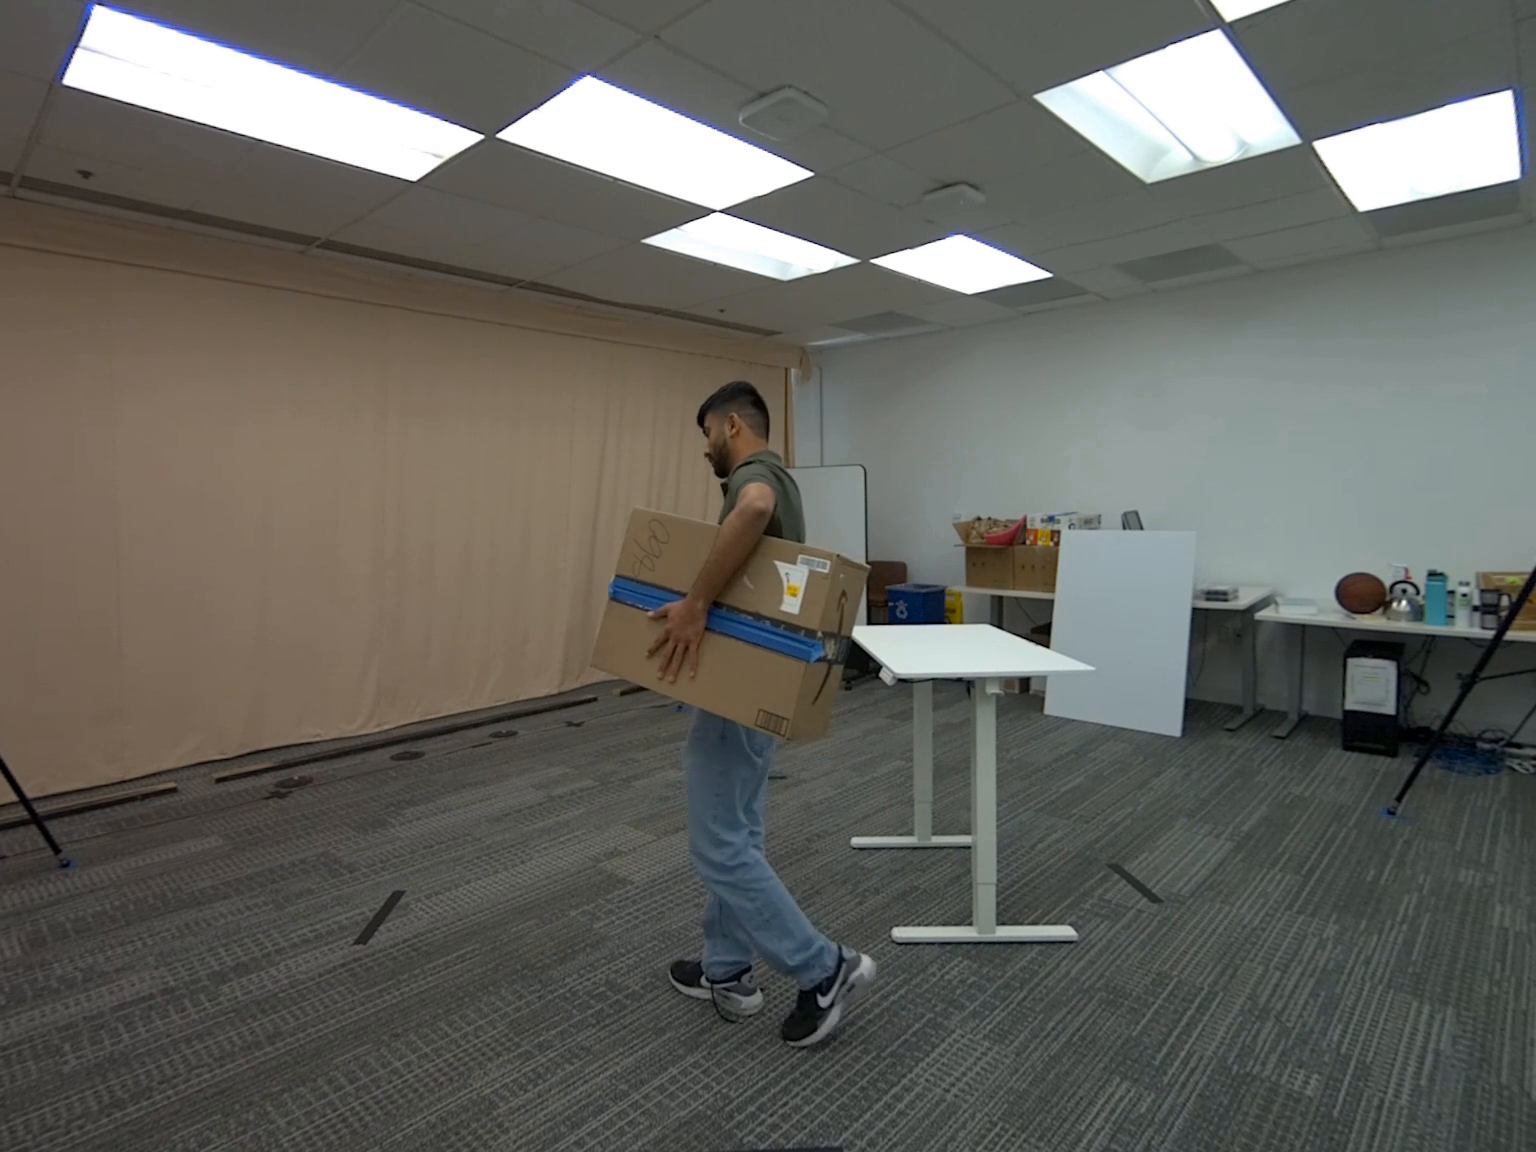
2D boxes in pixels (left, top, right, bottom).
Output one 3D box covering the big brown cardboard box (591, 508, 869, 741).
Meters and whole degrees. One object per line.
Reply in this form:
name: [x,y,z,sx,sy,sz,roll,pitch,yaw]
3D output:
big brown cardboard box: [-0.092,0.098,2.025,0.607,0.418,0.226,12,-1,30]
